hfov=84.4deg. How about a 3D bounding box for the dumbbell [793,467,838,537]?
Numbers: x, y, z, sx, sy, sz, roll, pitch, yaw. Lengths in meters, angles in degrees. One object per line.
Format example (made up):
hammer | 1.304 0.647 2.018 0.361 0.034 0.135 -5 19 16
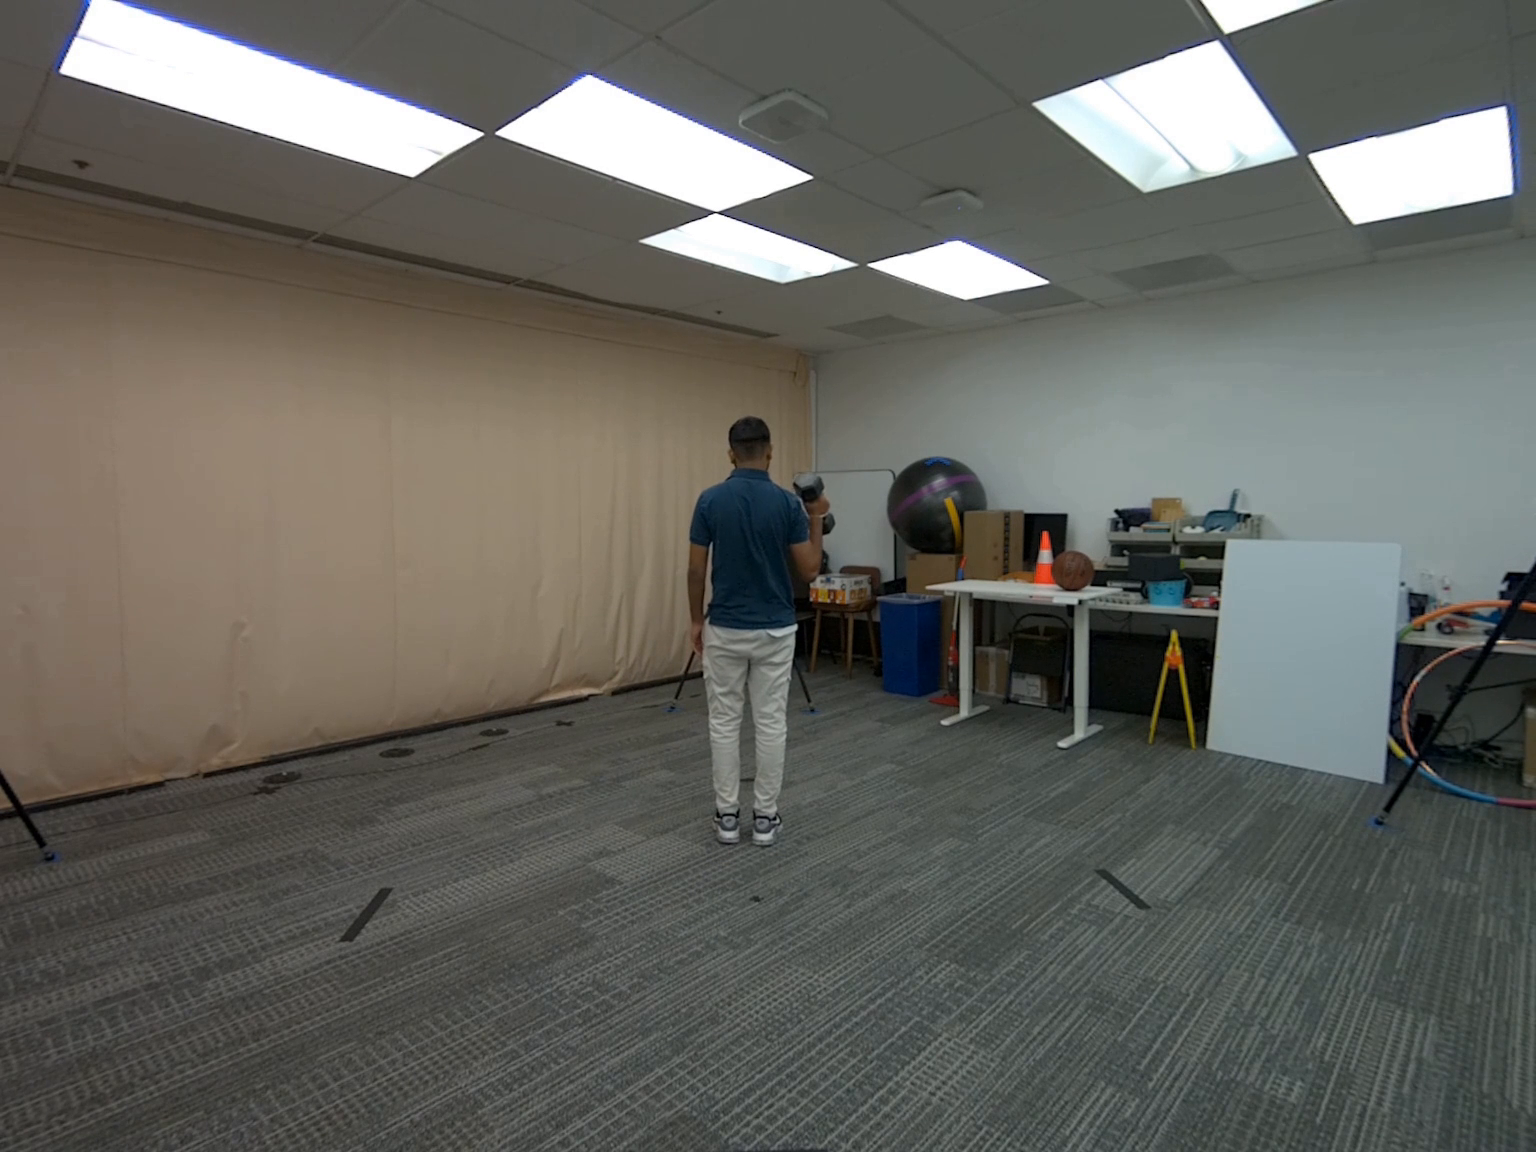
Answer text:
dumbbell | 0.198 -0.306 3.568 0.124 0.285 0.110 -9 46 12
